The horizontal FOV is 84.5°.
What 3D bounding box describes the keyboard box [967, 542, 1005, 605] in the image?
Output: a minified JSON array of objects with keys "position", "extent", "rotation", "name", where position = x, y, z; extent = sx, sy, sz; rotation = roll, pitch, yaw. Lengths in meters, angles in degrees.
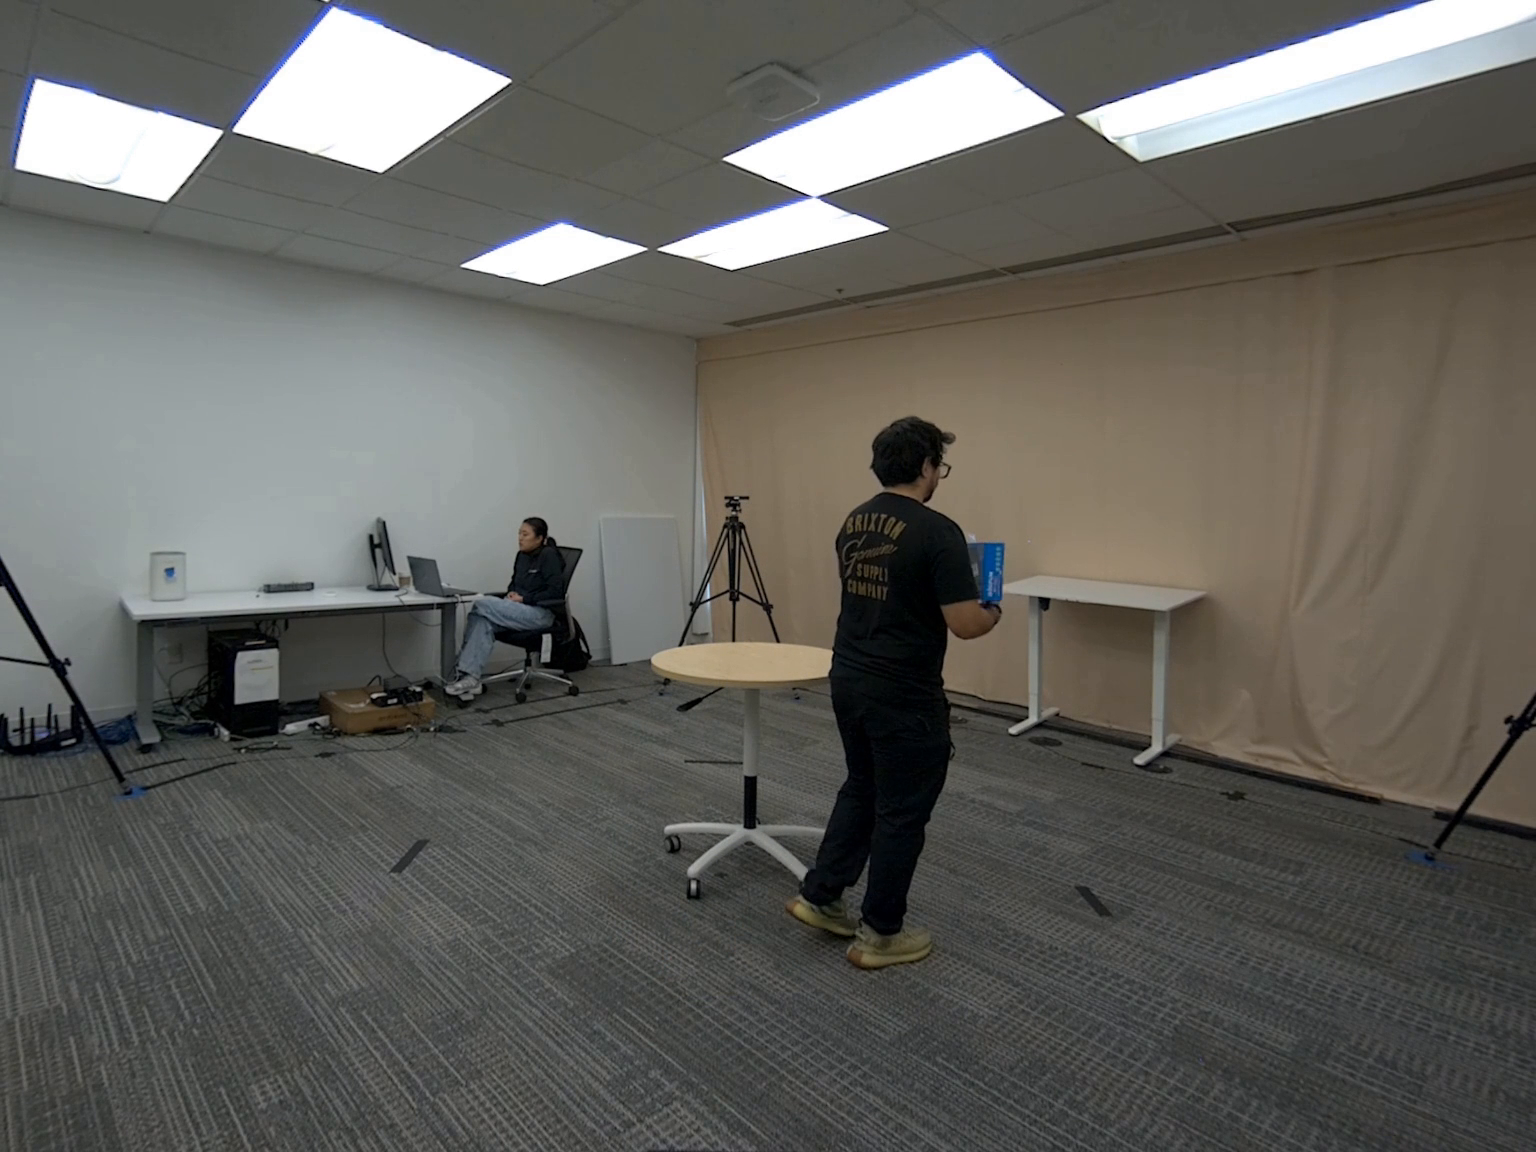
[{"position":[0.632,-0.013,2.666],"extent":[0.059,0.176,0.439],"rotation":[3,0,-8],"name":"keyboard box"}]
